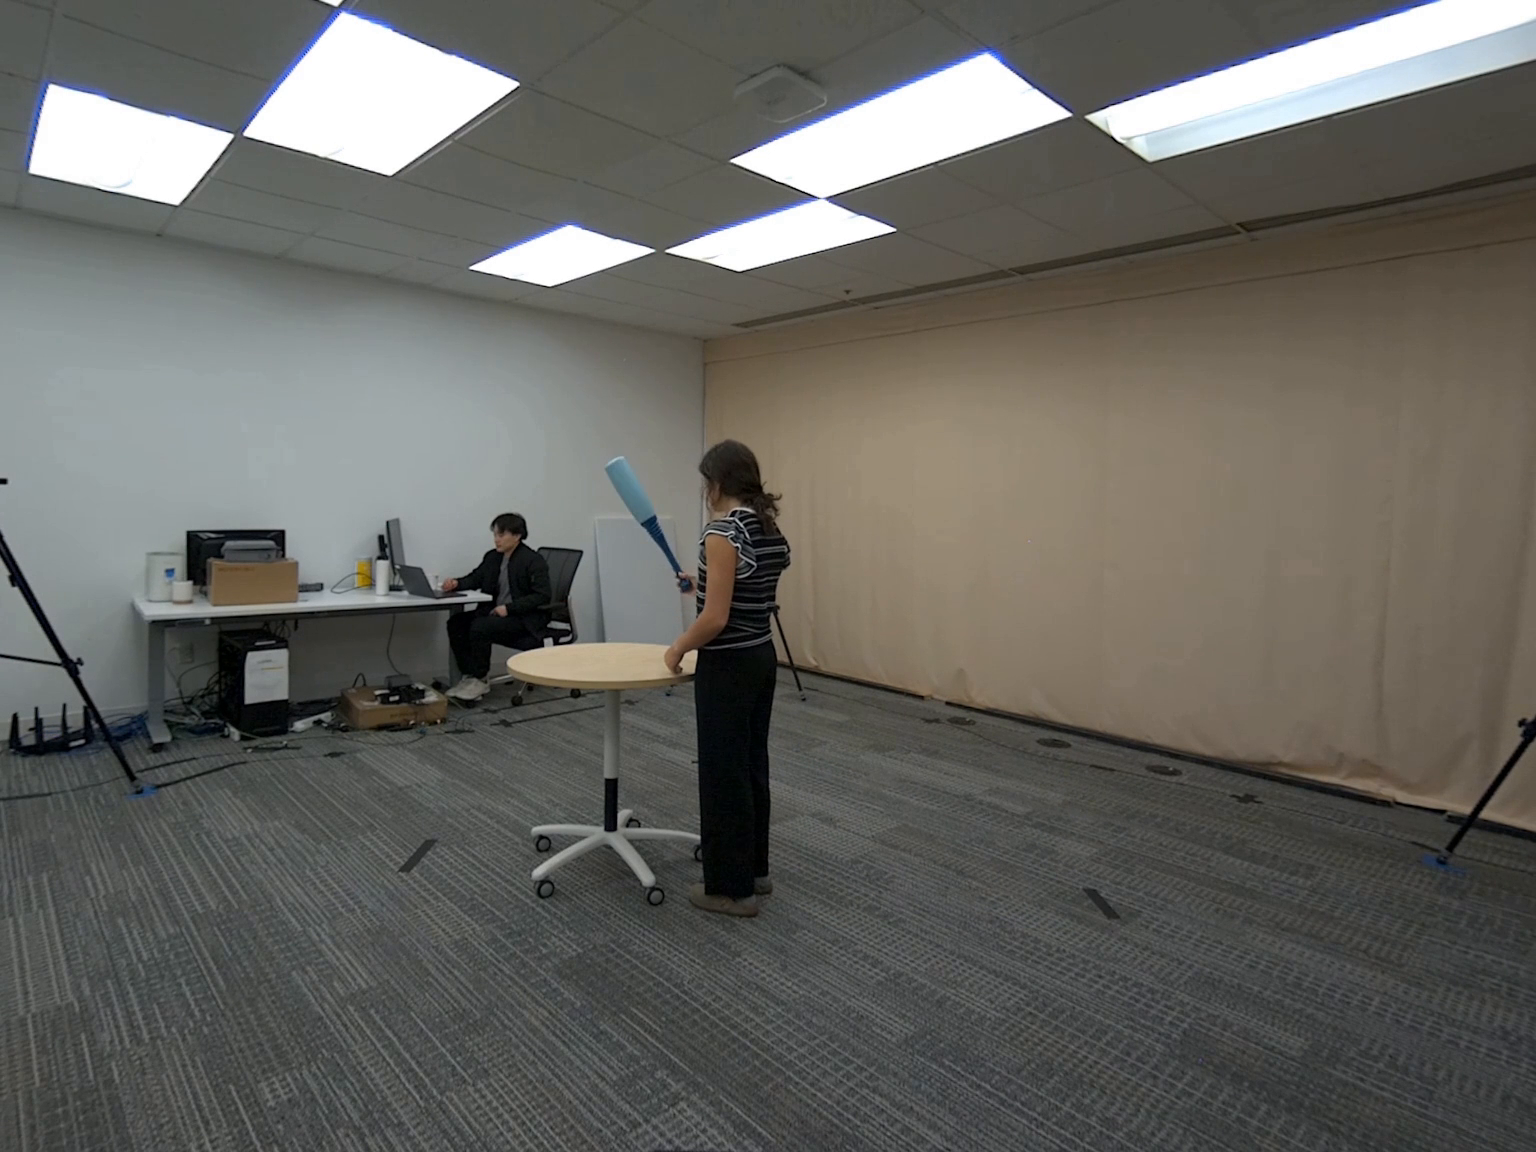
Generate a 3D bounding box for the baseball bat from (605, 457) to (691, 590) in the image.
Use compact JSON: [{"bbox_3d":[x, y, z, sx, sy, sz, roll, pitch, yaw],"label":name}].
[{"bbox_3d":[-0.450,-0.183,3.107,0.089,0.541,0.089,-30,4,2],"label":"baseball bat"}]
